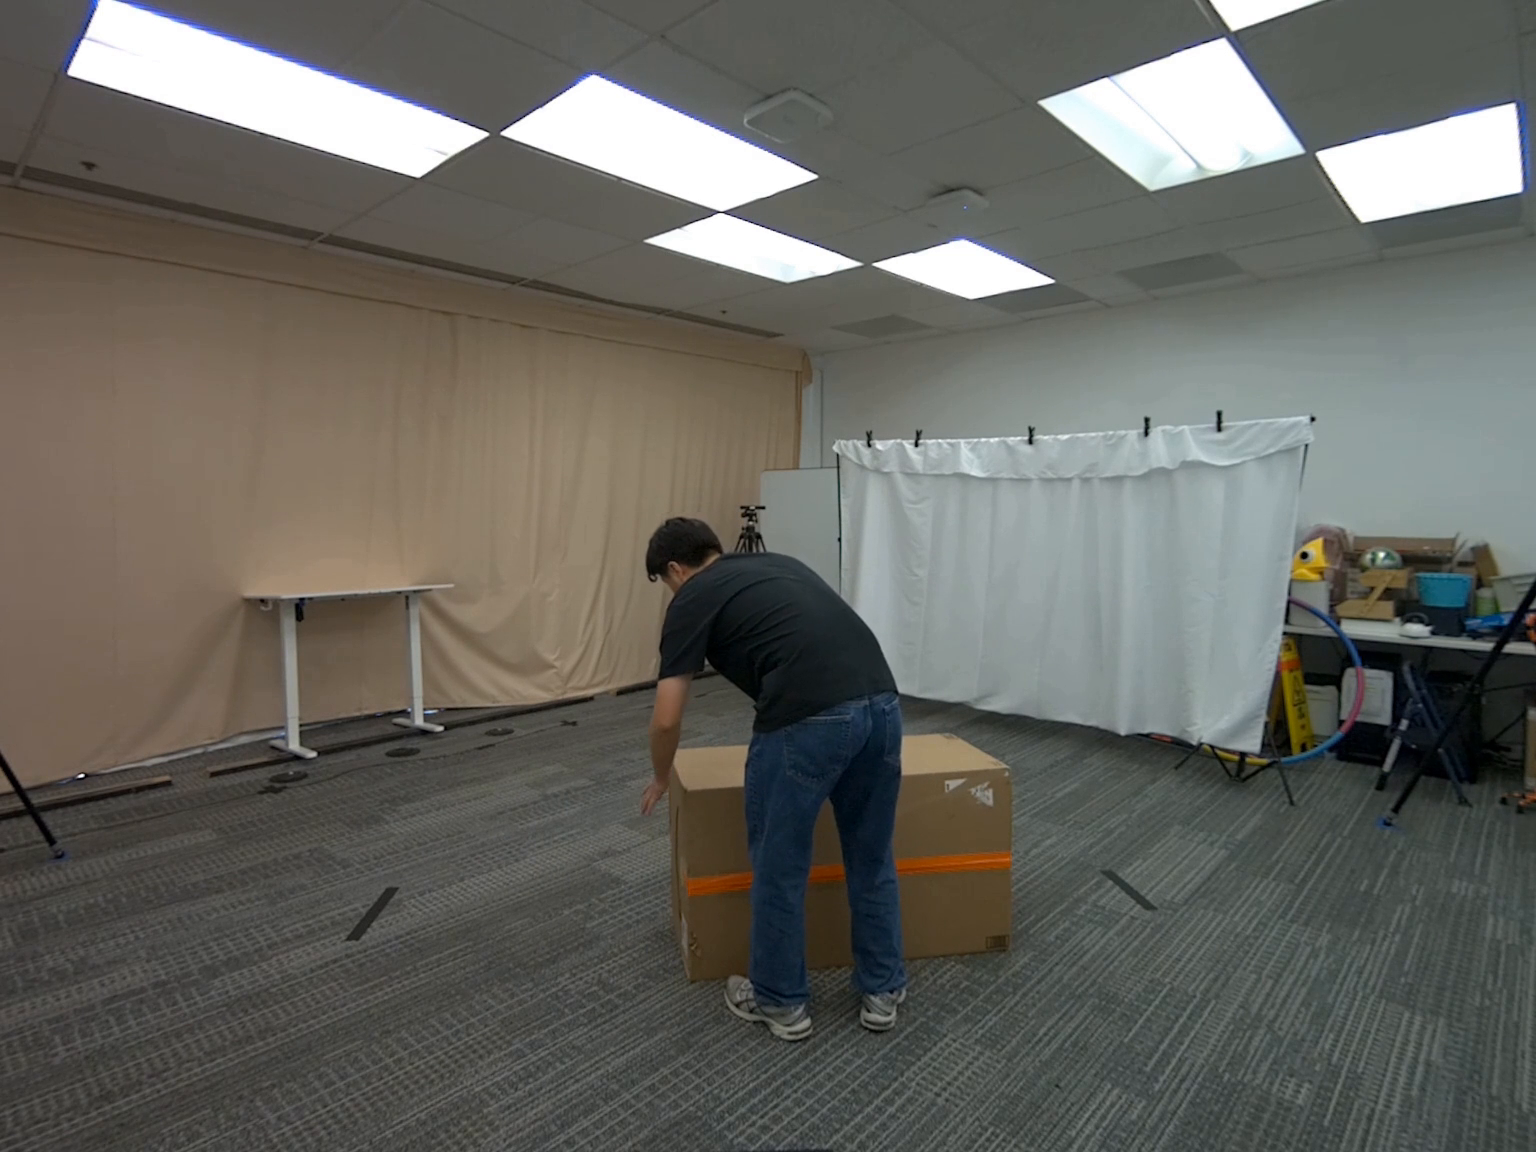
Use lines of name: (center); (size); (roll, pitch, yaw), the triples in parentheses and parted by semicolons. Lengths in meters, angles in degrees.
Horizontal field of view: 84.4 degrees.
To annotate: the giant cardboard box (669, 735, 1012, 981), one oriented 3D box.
giant cardboard box: (0.215, 0.875, 2.735); (1.015, 0.582, 0.453); (-2, 5, -11)
